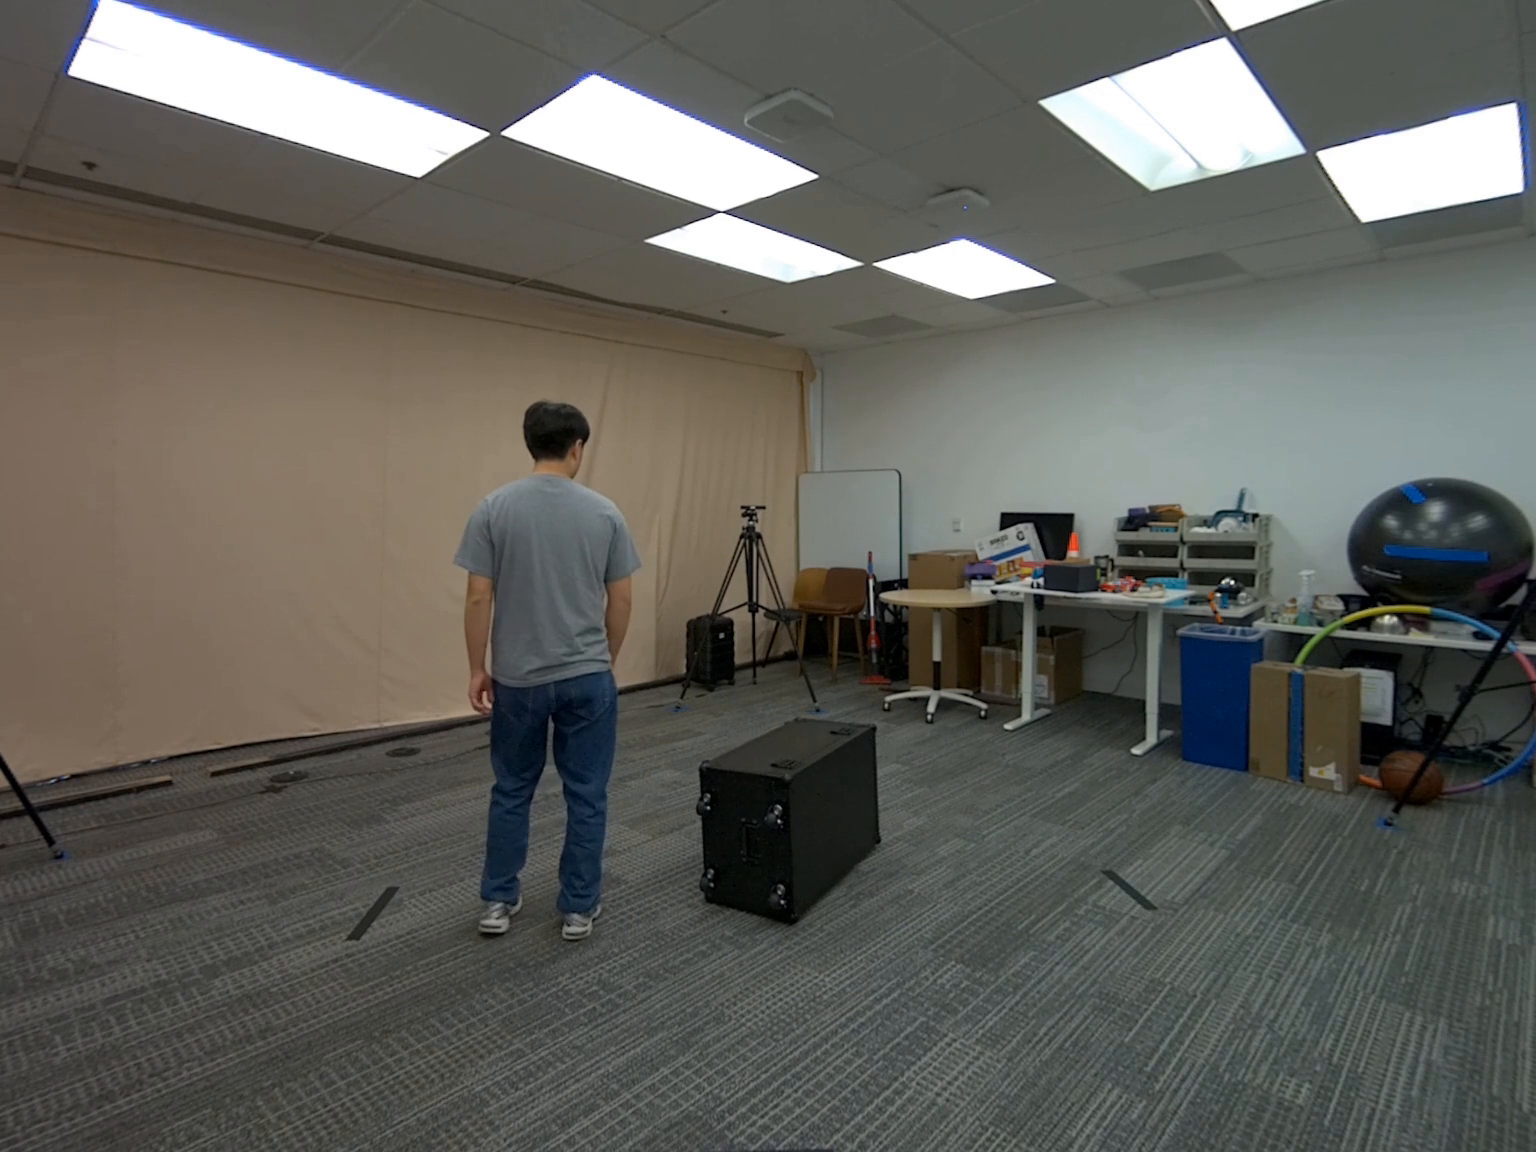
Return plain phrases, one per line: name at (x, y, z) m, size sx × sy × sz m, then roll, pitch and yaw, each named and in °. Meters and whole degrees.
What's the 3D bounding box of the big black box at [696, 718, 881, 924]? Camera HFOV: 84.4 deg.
big black box at (0.084, 0.869, 3.168) m, size 0.407 × 0.520 × 0.839 m, roll -1°, pitch 3°, yaw 29°
